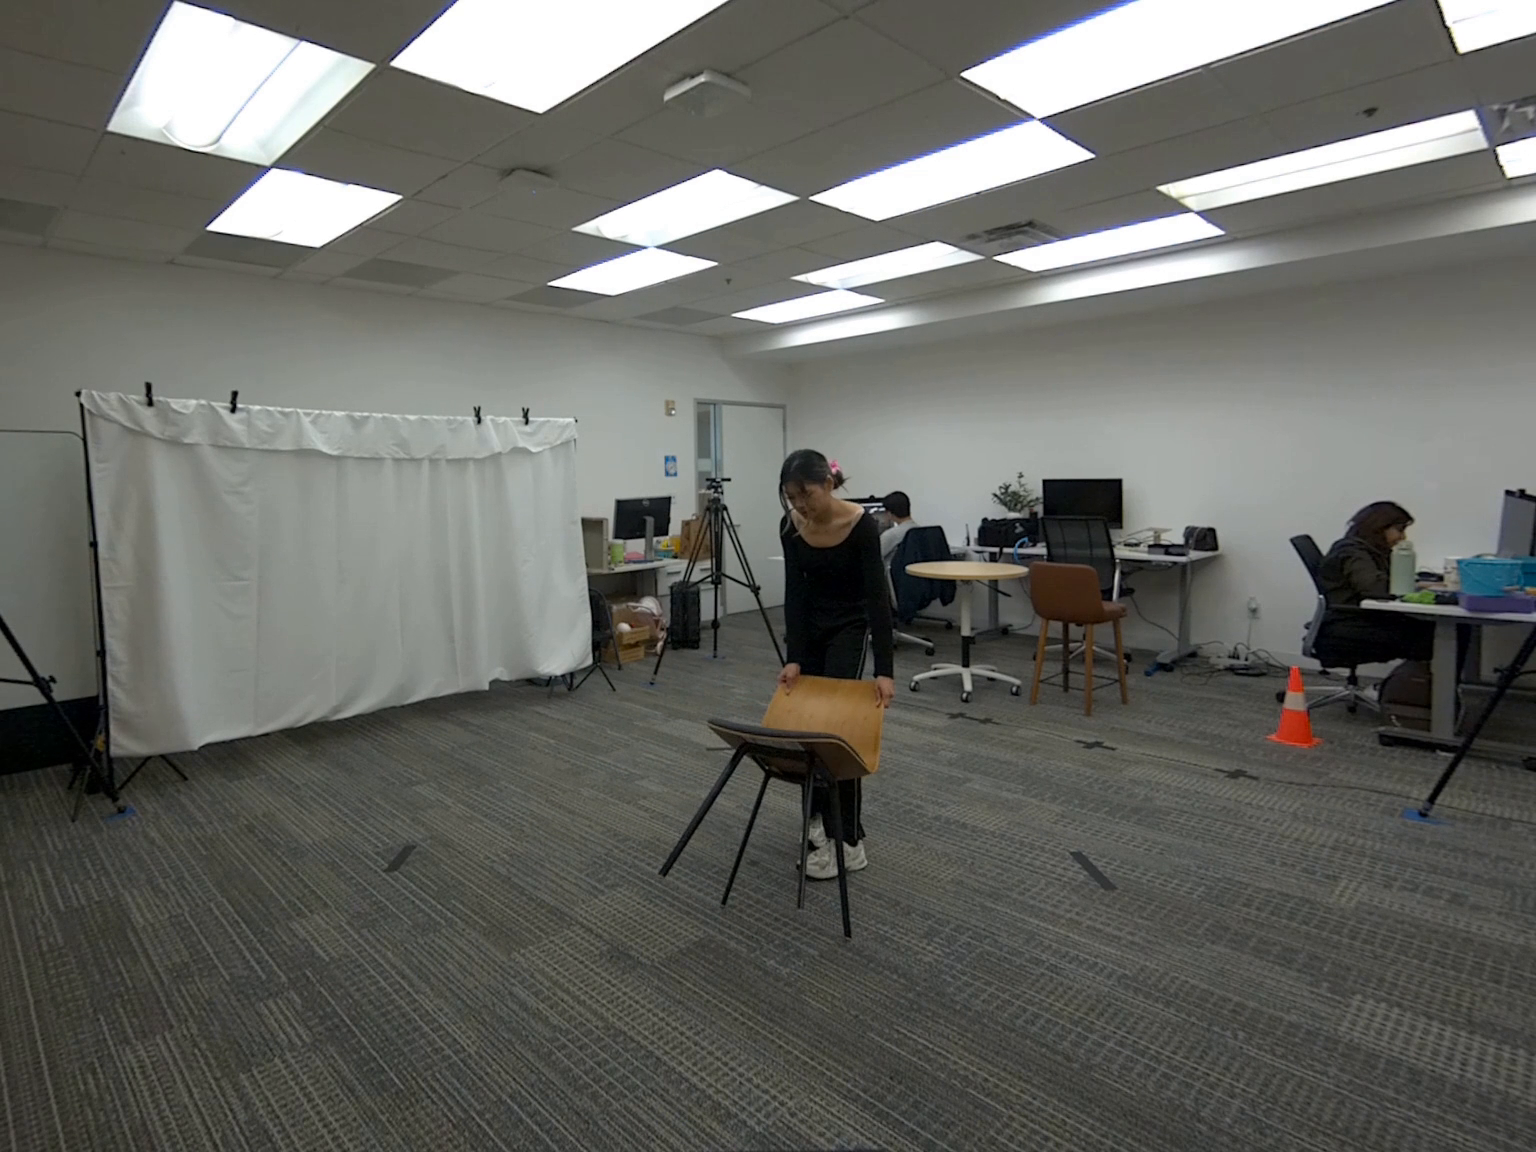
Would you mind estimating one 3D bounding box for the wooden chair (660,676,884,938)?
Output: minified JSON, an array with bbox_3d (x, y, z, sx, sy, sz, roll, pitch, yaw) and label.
[{"bbox_3d":[0.065,0.598,2.706,0.490,0.889,0.503,1,-34,28],"label":"wooden chair"}]
